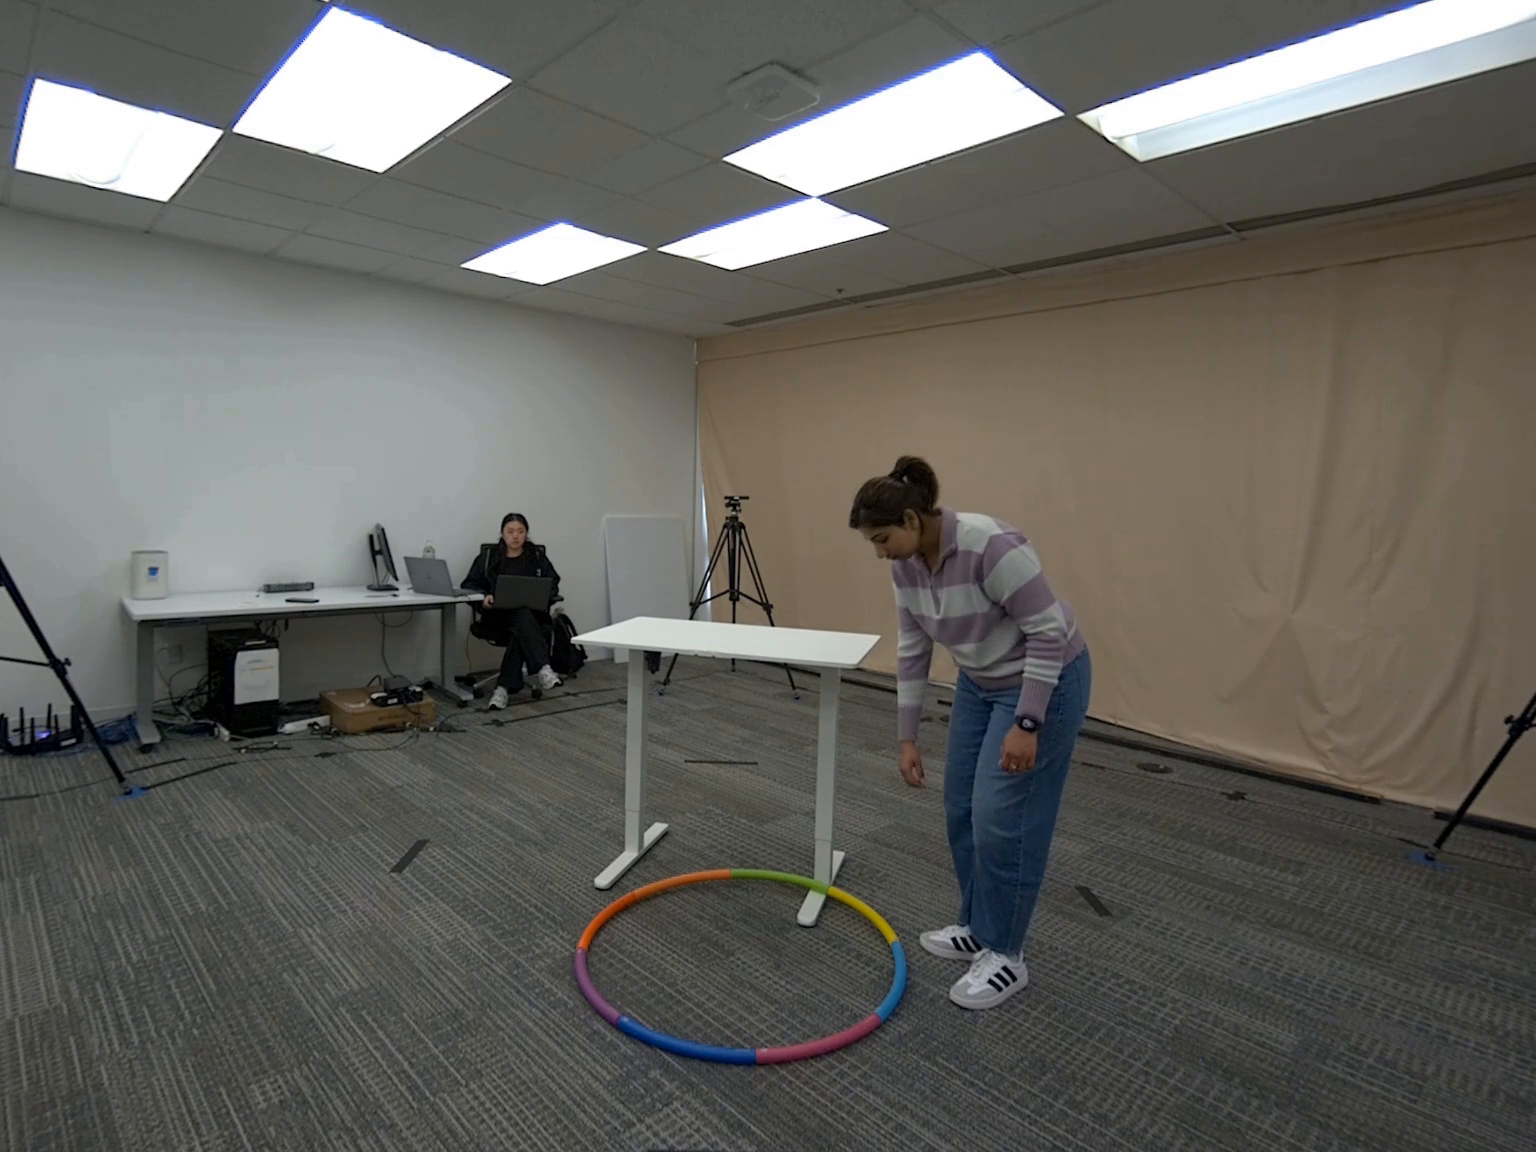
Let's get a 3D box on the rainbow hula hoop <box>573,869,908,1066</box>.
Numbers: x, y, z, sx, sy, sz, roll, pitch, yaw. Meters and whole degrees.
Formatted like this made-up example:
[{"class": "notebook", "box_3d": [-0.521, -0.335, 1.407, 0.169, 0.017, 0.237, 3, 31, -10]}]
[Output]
[{"class": "rainbow hula hoop", "box_3d": [-0.090, 1.129, 2.540, 0.978, 0.035, 0.983, 0, 7, -1]}]
